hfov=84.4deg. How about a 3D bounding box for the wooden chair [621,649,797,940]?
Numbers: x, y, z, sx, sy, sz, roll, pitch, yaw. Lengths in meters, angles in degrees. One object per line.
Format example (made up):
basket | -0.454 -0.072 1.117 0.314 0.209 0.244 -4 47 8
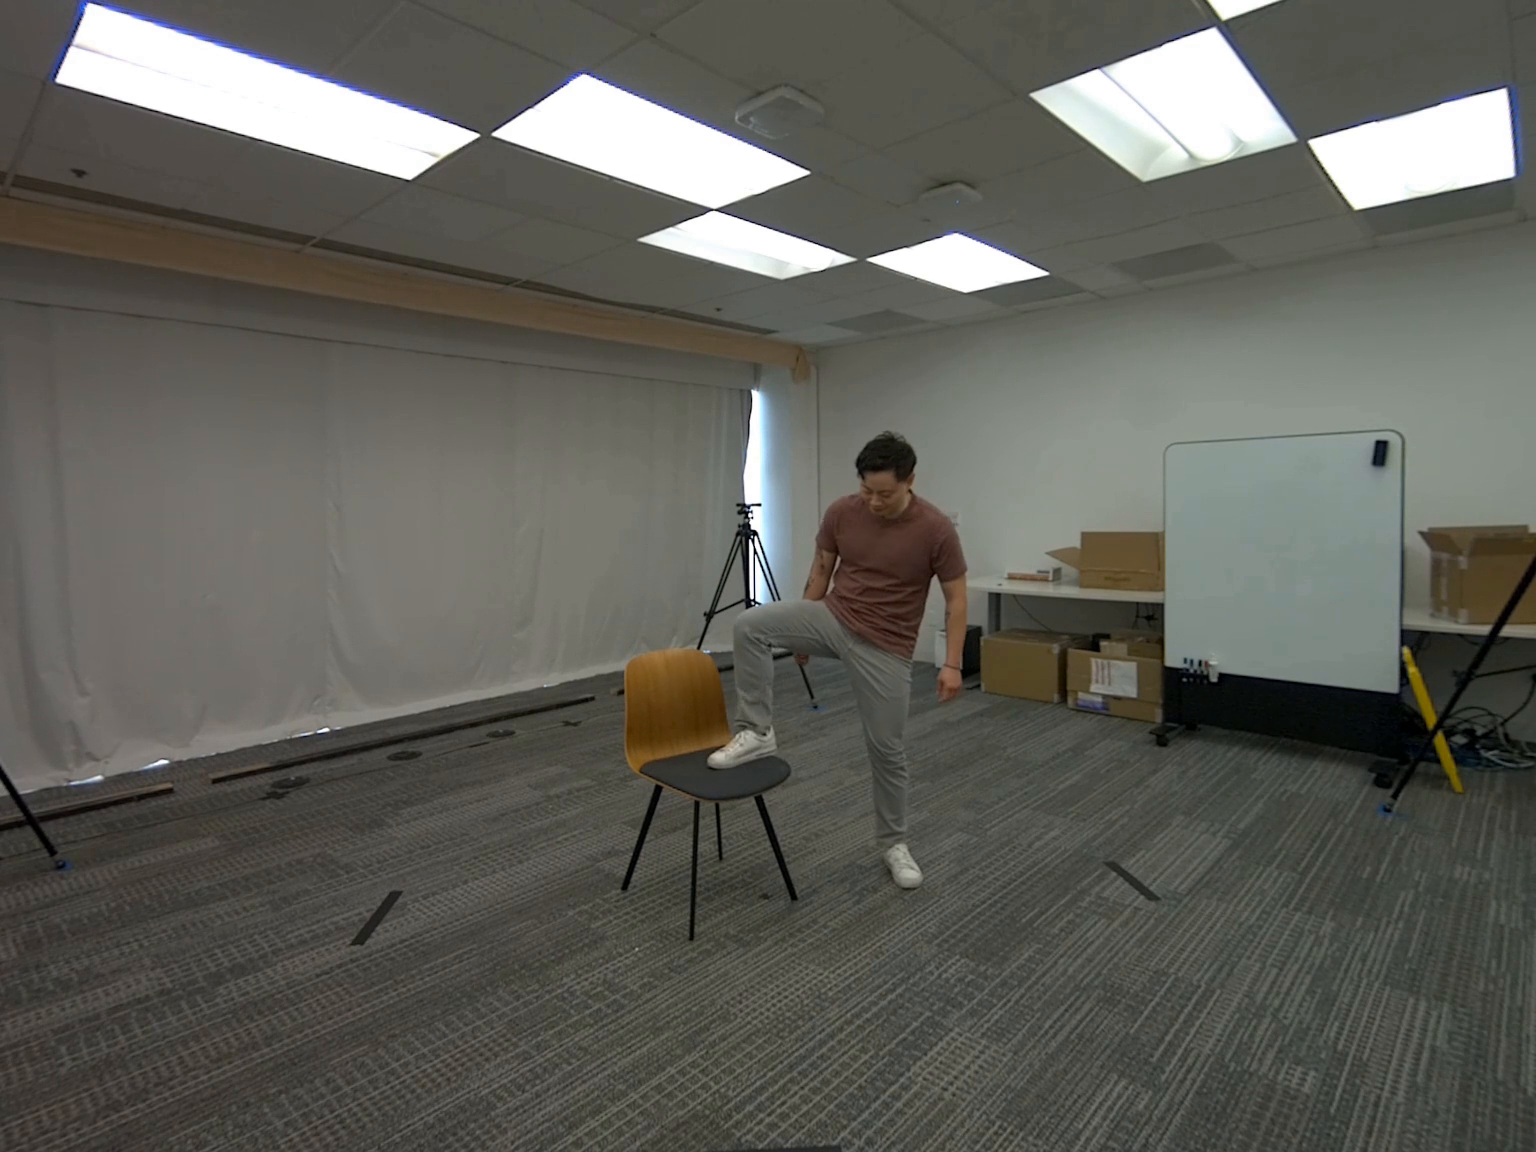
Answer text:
wooden chair | -0.213 0.716 2.964 0.464 0.877 0.539 -3 0 -38
